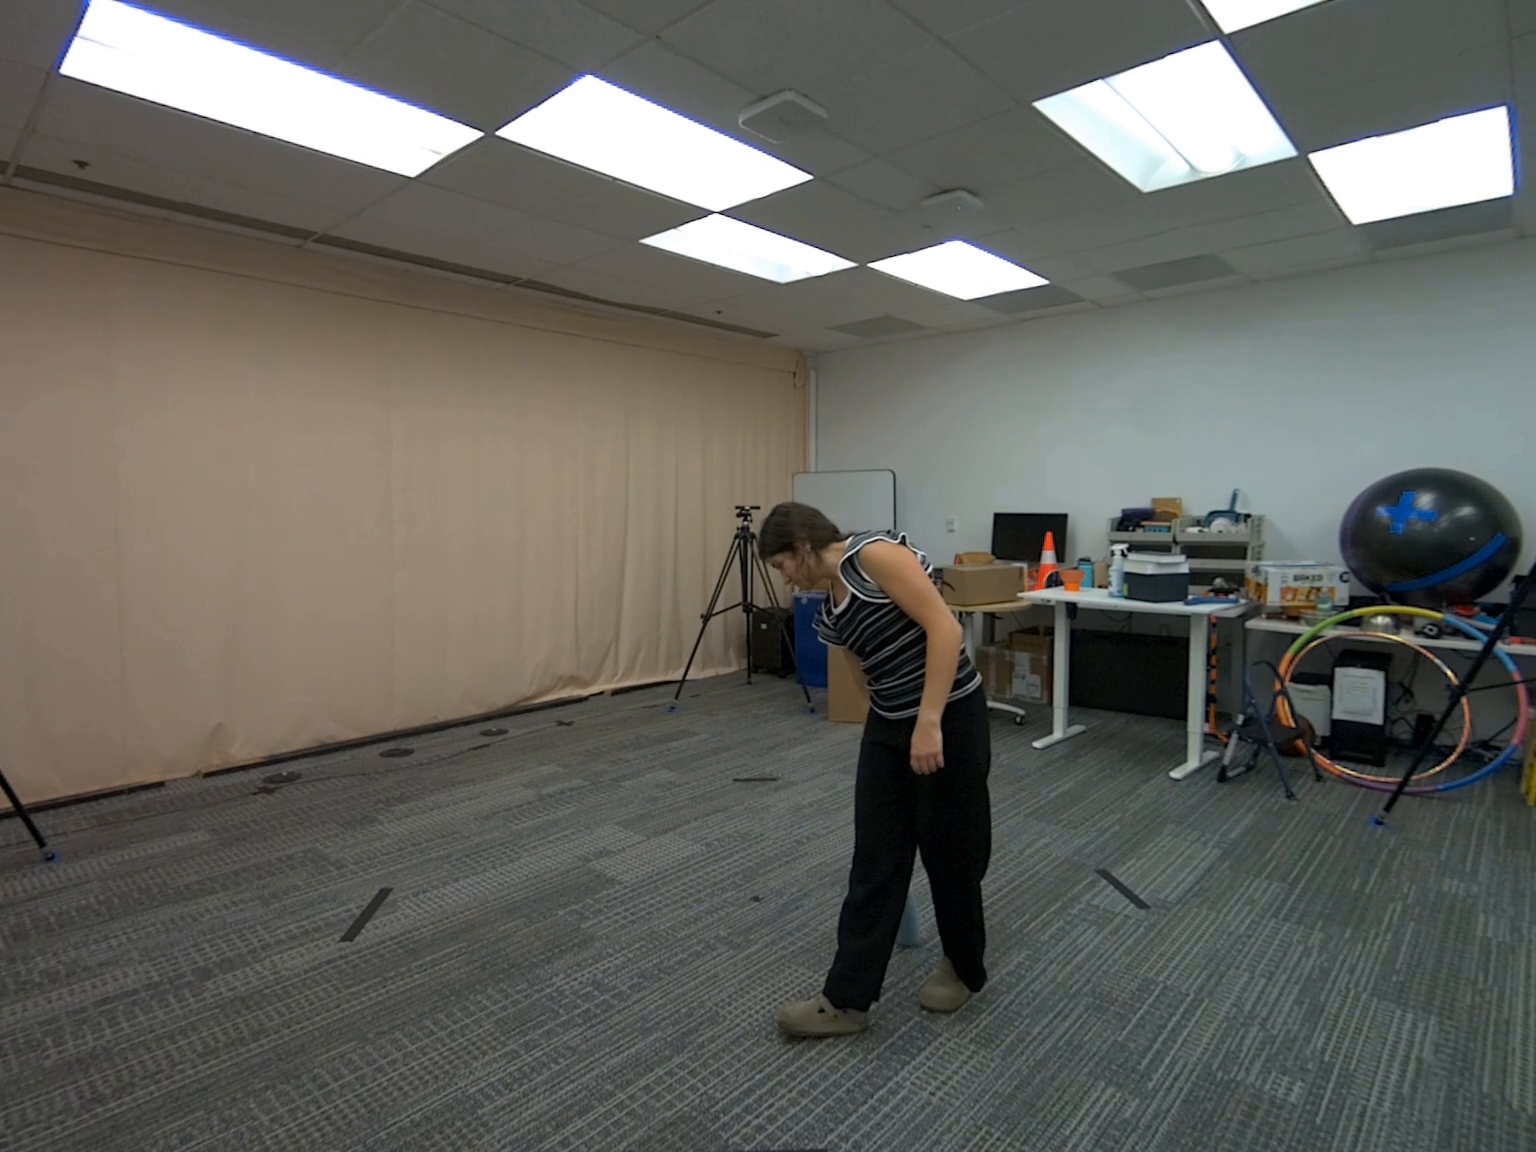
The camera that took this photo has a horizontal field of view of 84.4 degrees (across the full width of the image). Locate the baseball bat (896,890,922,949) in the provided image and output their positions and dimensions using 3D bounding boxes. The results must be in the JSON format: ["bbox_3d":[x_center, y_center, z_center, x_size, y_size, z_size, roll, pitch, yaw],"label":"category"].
[{"bbox_3d":[0.401,0.934,2.554,0.089,0.531,0.090,-10,30,4],"label":"baseball bat"}]
